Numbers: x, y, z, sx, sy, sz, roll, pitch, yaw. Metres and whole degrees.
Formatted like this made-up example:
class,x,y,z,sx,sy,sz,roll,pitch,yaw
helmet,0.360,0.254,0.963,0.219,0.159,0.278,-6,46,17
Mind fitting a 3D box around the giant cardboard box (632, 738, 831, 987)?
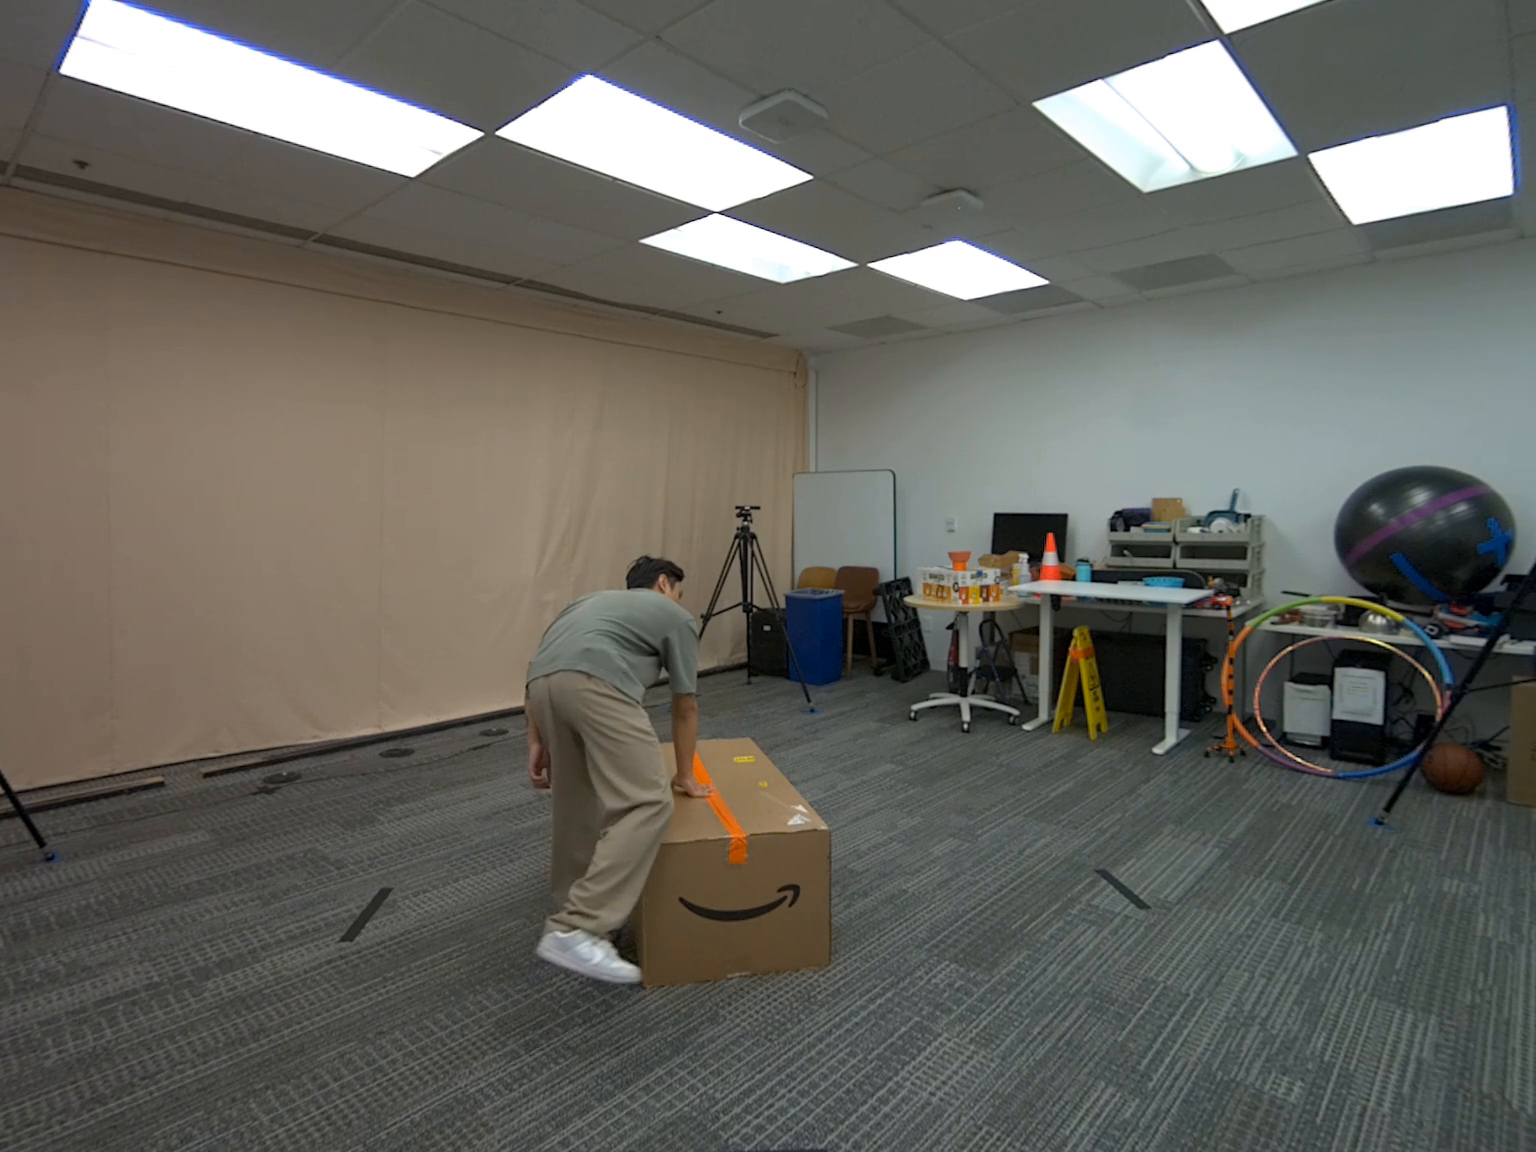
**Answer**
class,x,y,z,sx,sy,sz,roll,pitch,yaw
giant cardboard box,-0.209,0.936,2.977,0.570,0.425,1.042,-1,5,-14
